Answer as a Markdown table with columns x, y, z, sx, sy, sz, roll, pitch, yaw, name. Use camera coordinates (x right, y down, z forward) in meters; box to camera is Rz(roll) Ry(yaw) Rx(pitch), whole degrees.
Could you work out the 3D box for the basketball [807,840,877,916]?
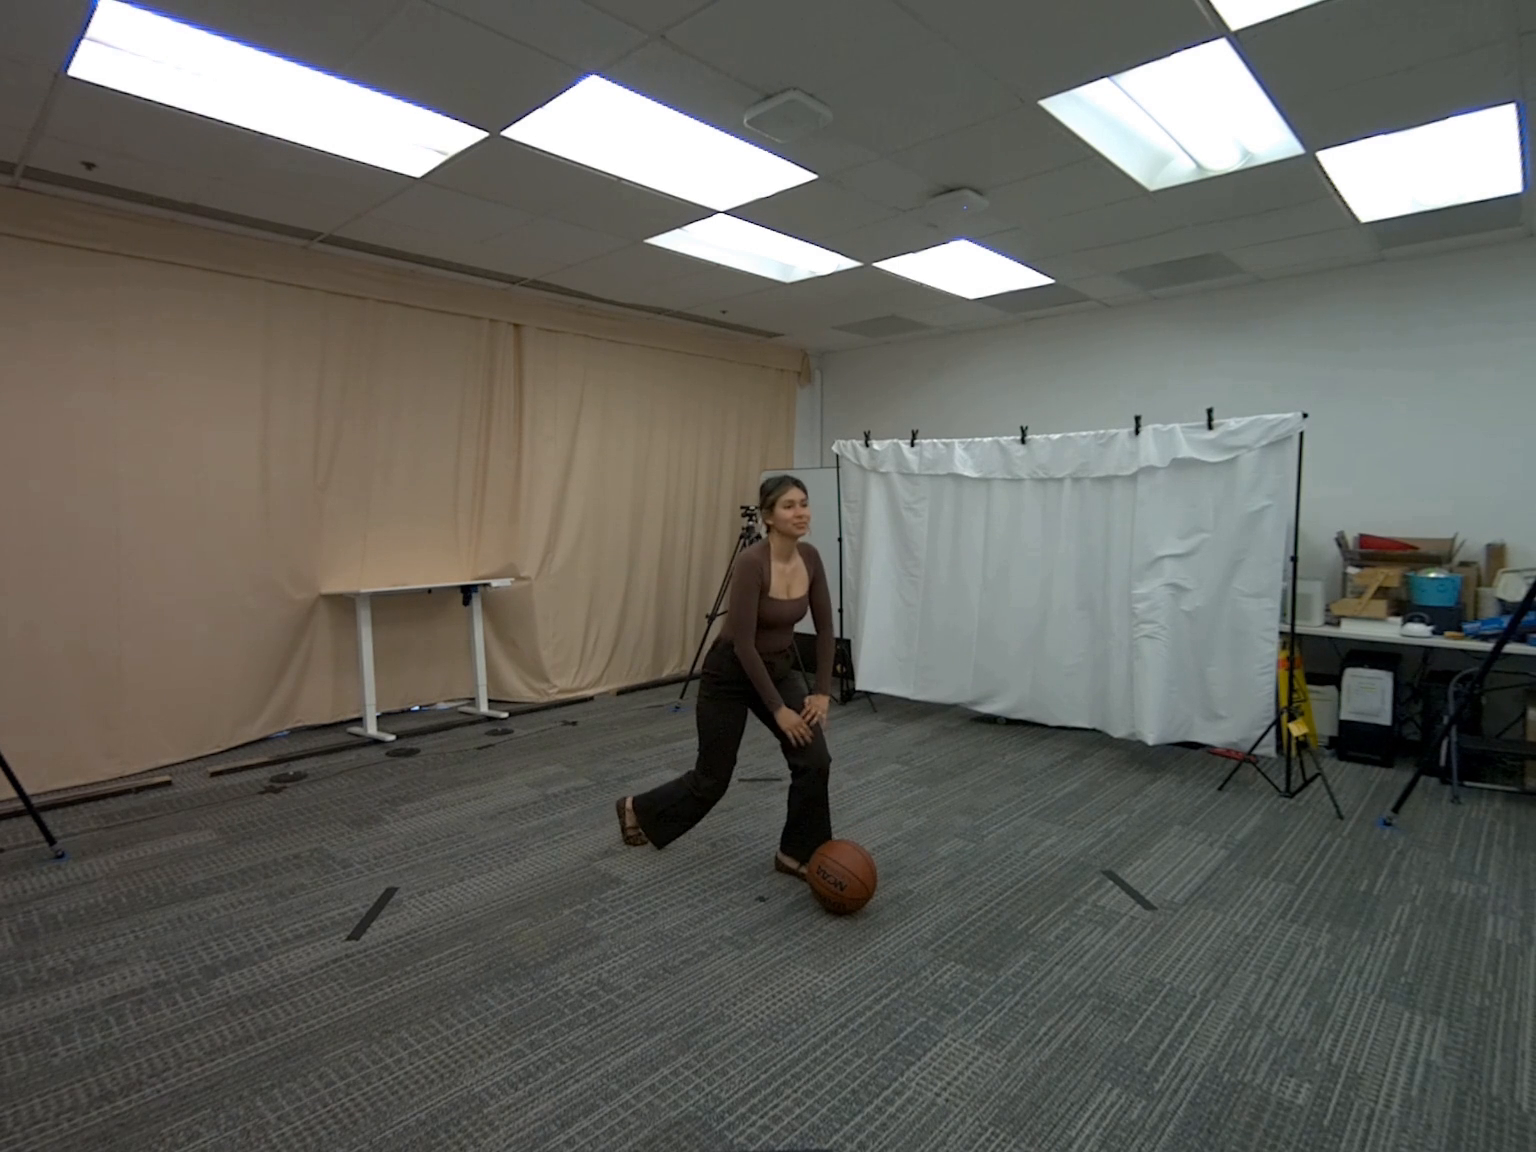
| x | y | z | sx | sy | sz | roll | pitch | yaw | name |
| --- | --- | --- | --- | --- | --- | --- | --- | --- | --- |
| 0.263 | 1.029 | 2.896 | 0.236 | 0.235 | 0.237 | 0 | 4 | -2 | basketball |
